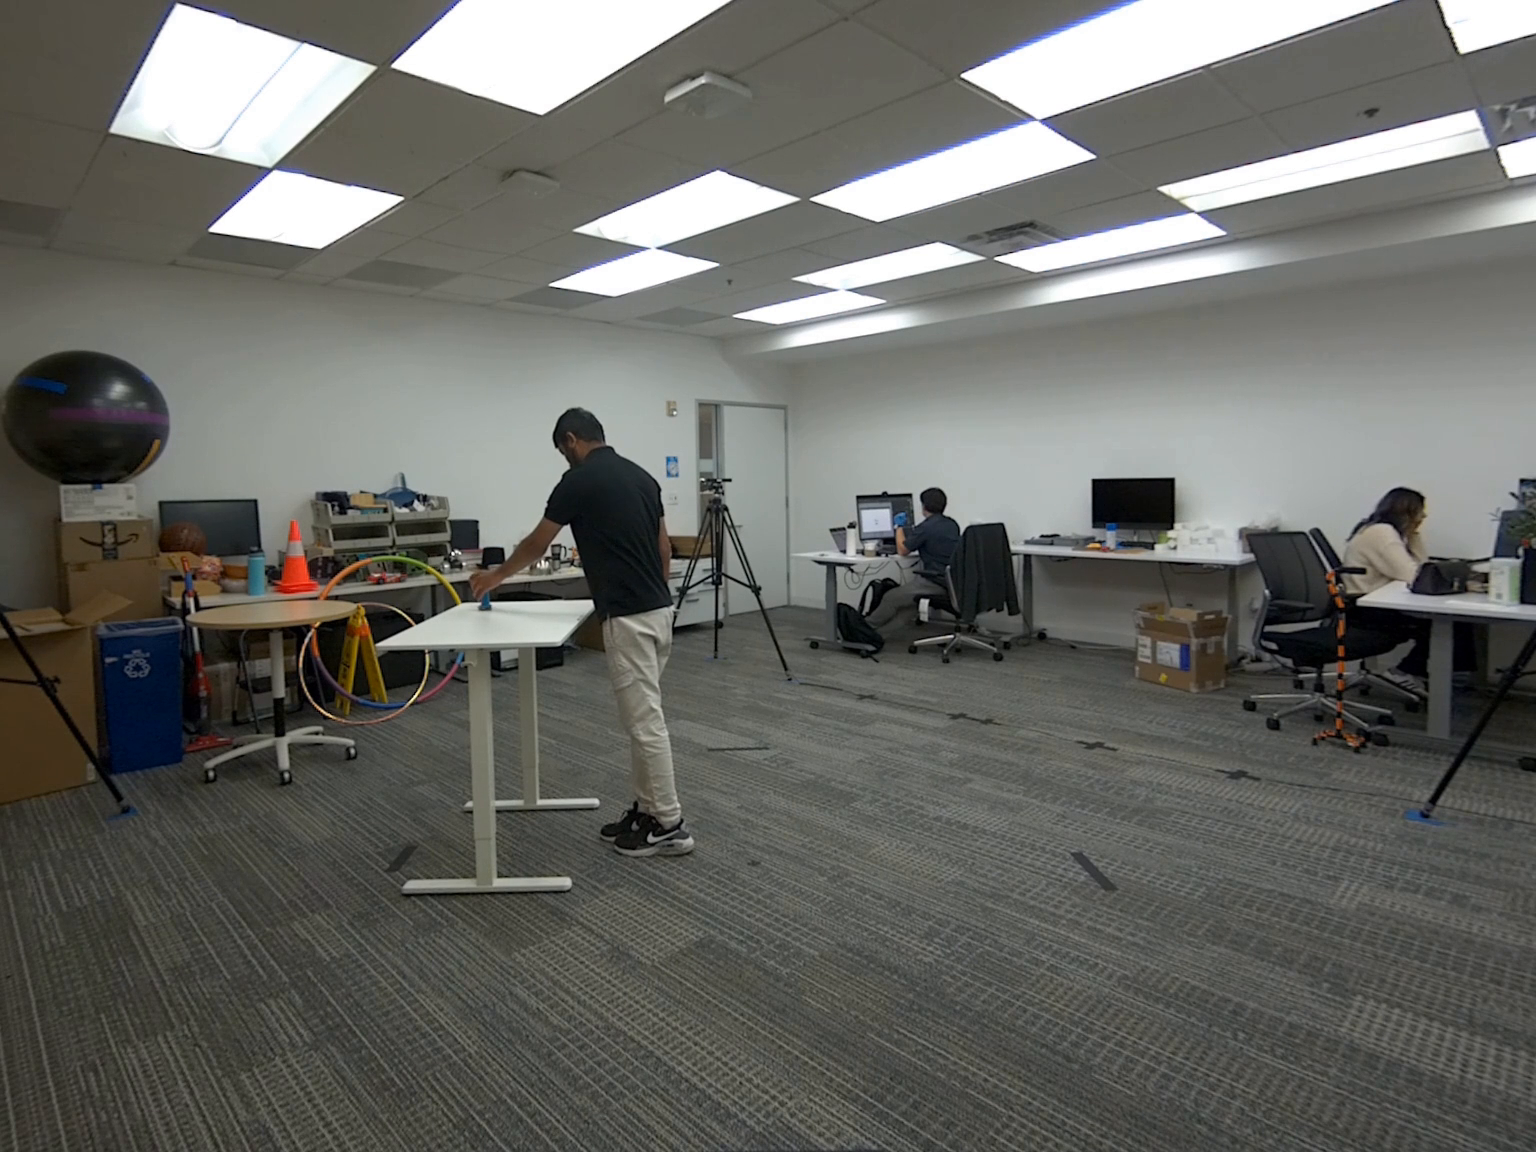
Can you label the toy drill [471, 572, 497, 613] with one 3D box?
[{"bbox_3d":[-1.183,0.062,3.562,0.060,0.145,0.174,-5,6,-29],"label":"toy drill"}]
